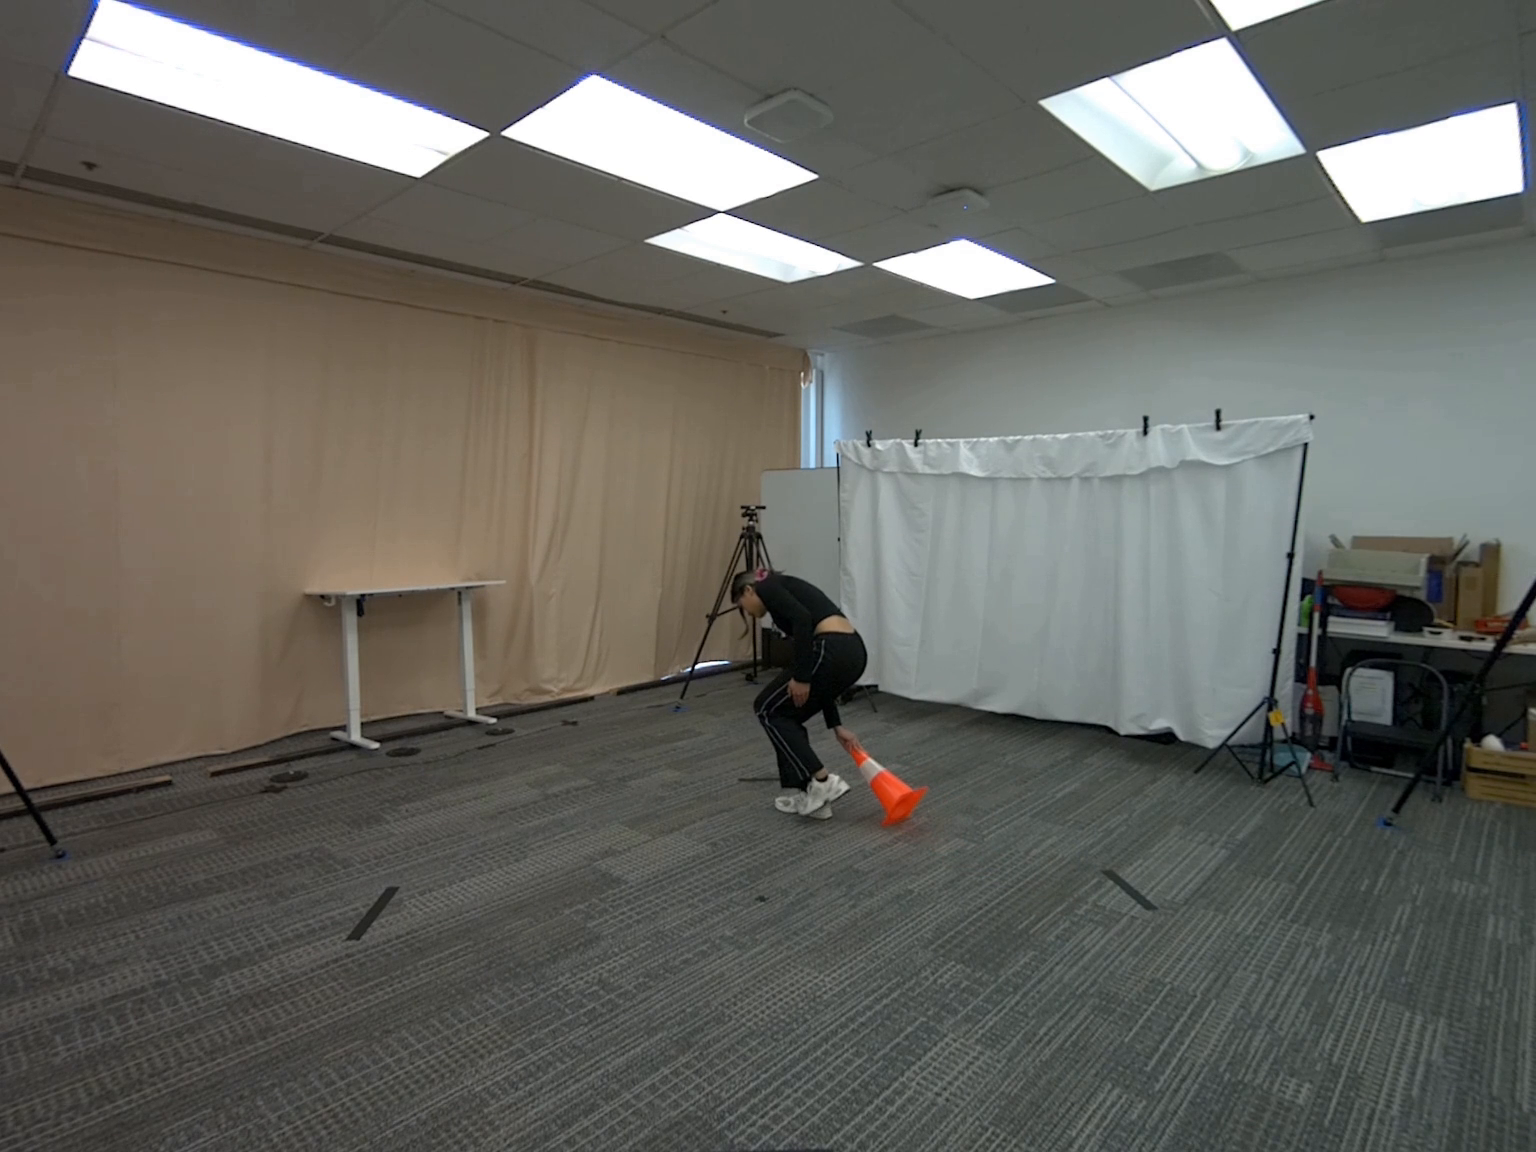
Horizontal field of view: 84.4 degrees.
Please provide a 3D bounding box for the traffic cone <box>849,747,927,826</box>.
[{"bbox_3d":[0.488,0.895,3.779,0.200,0.201,0.397,-11,42,-34],"label":"traffic cone"}]
